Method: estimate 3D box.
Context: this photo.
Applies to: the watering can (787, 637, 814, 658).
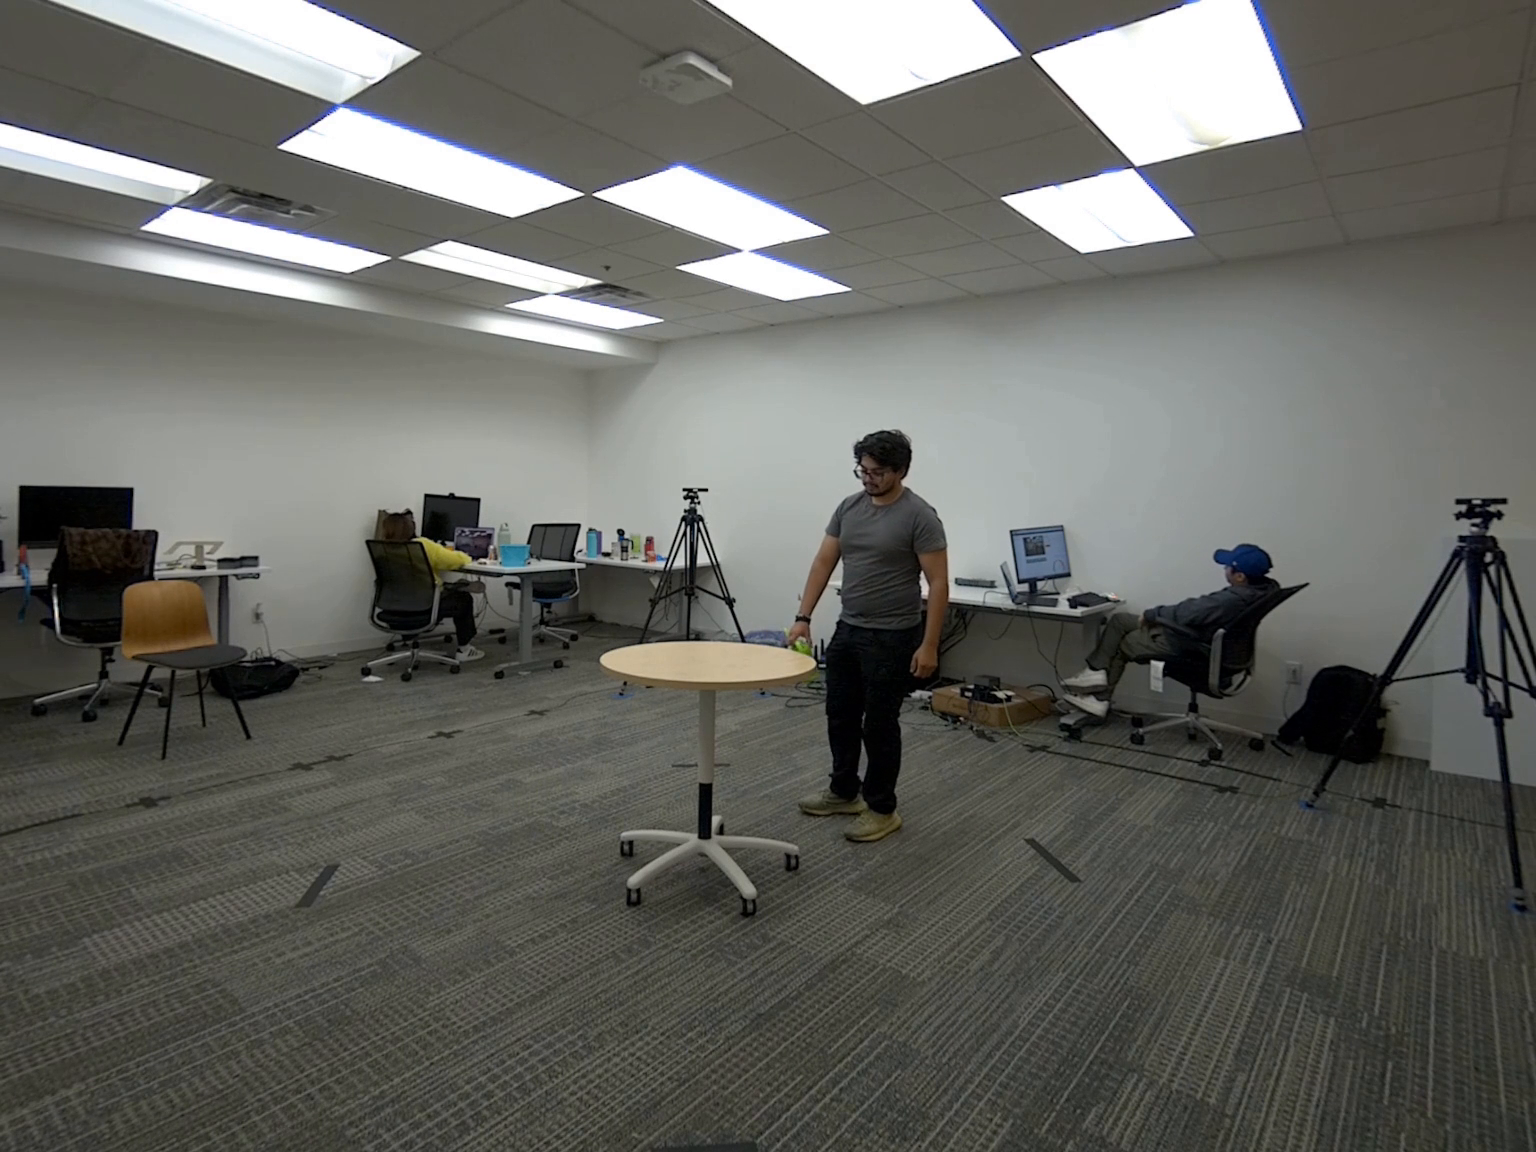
[{"bbox_3d":[0.134,0.318,3.532,0.098,0.175,0.280,-15,9,2],"label":"watering can"}]
